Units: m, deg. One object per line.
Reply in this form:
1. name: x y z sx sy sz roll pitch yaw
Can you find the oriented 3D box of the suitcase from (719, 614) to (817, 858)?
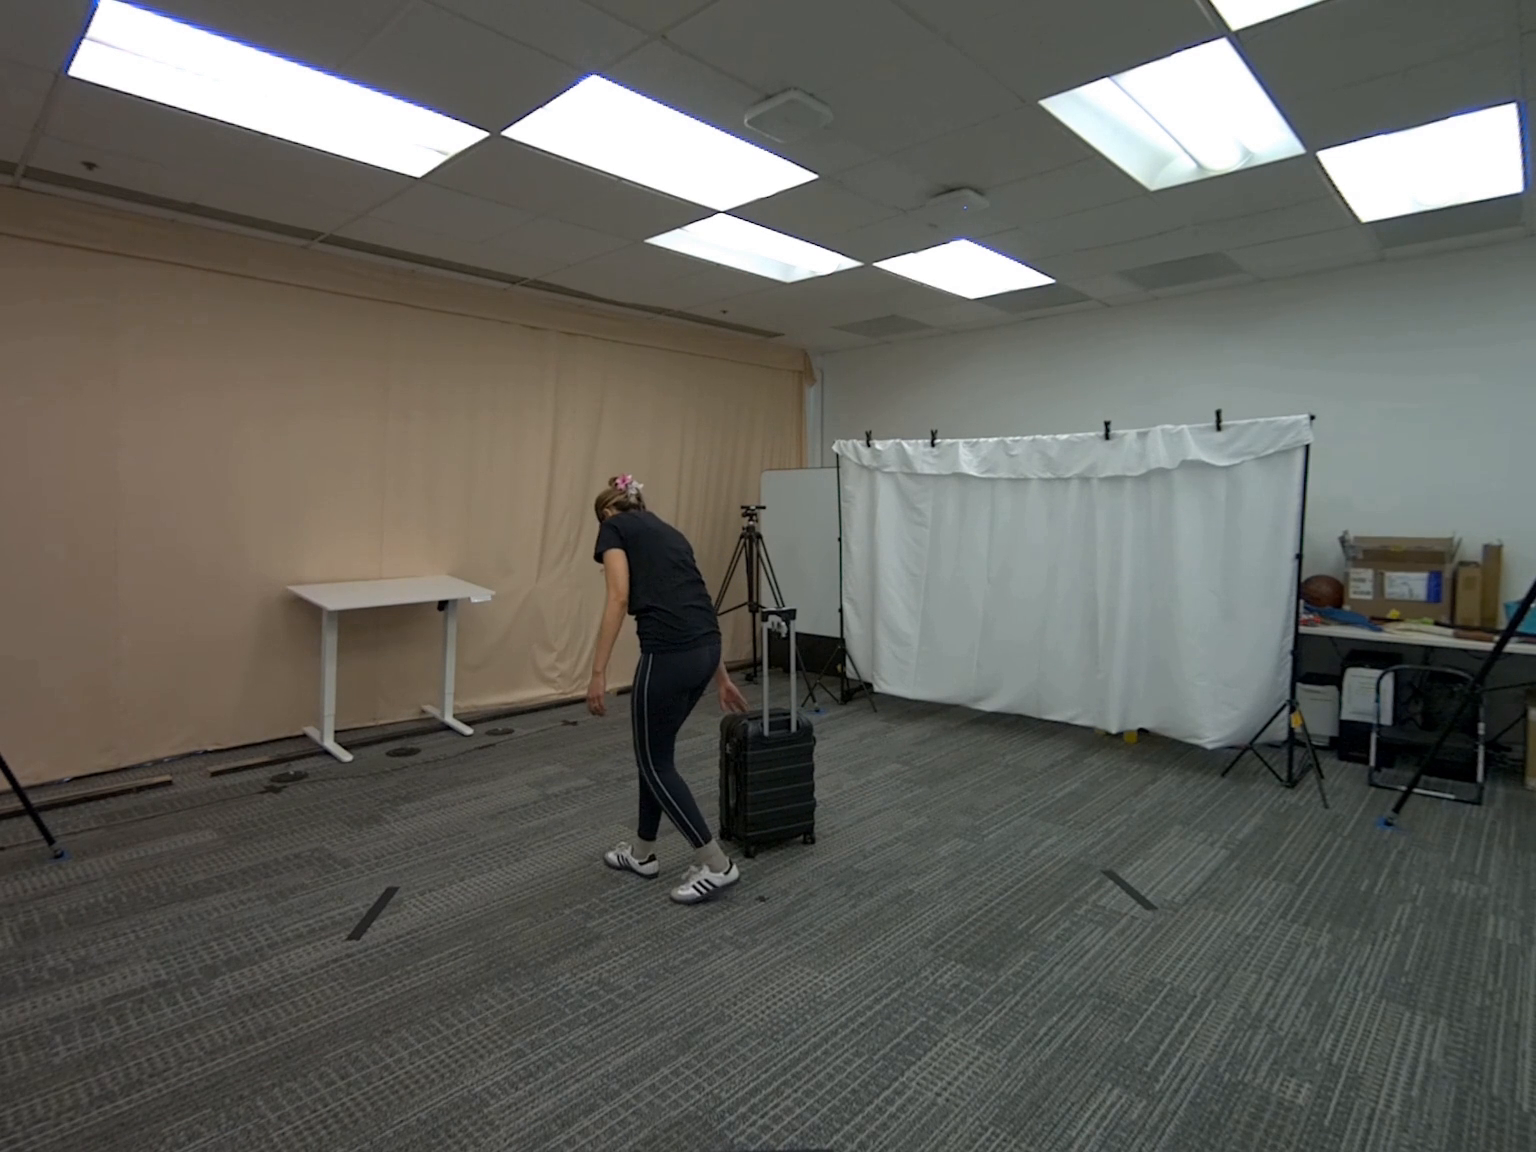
1. suitcase: -0.007 0.627 3.465 0.375 0.977 0.264 -1 2 -26
